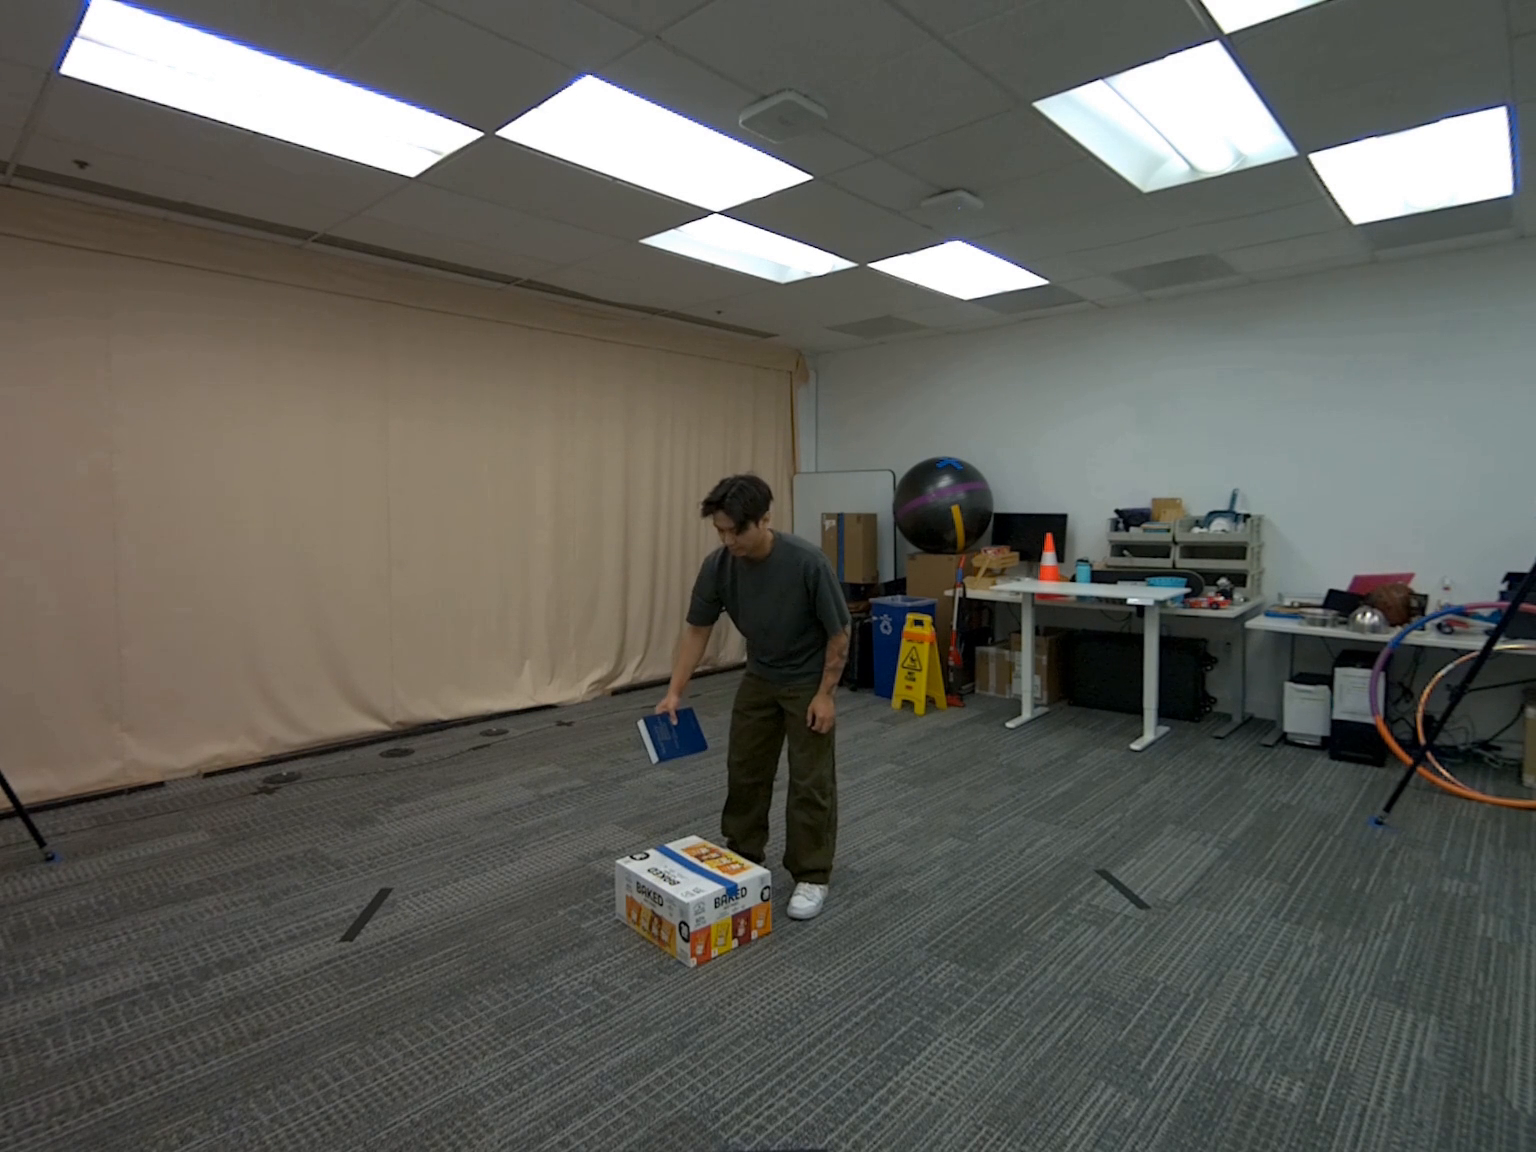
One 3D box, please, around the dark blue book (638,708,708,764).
[{"bbox_3d":[-0.332,0.569,2.976,0.237,0.167,0.046,-1,-32,-47],"label":"dark blue book"}]
